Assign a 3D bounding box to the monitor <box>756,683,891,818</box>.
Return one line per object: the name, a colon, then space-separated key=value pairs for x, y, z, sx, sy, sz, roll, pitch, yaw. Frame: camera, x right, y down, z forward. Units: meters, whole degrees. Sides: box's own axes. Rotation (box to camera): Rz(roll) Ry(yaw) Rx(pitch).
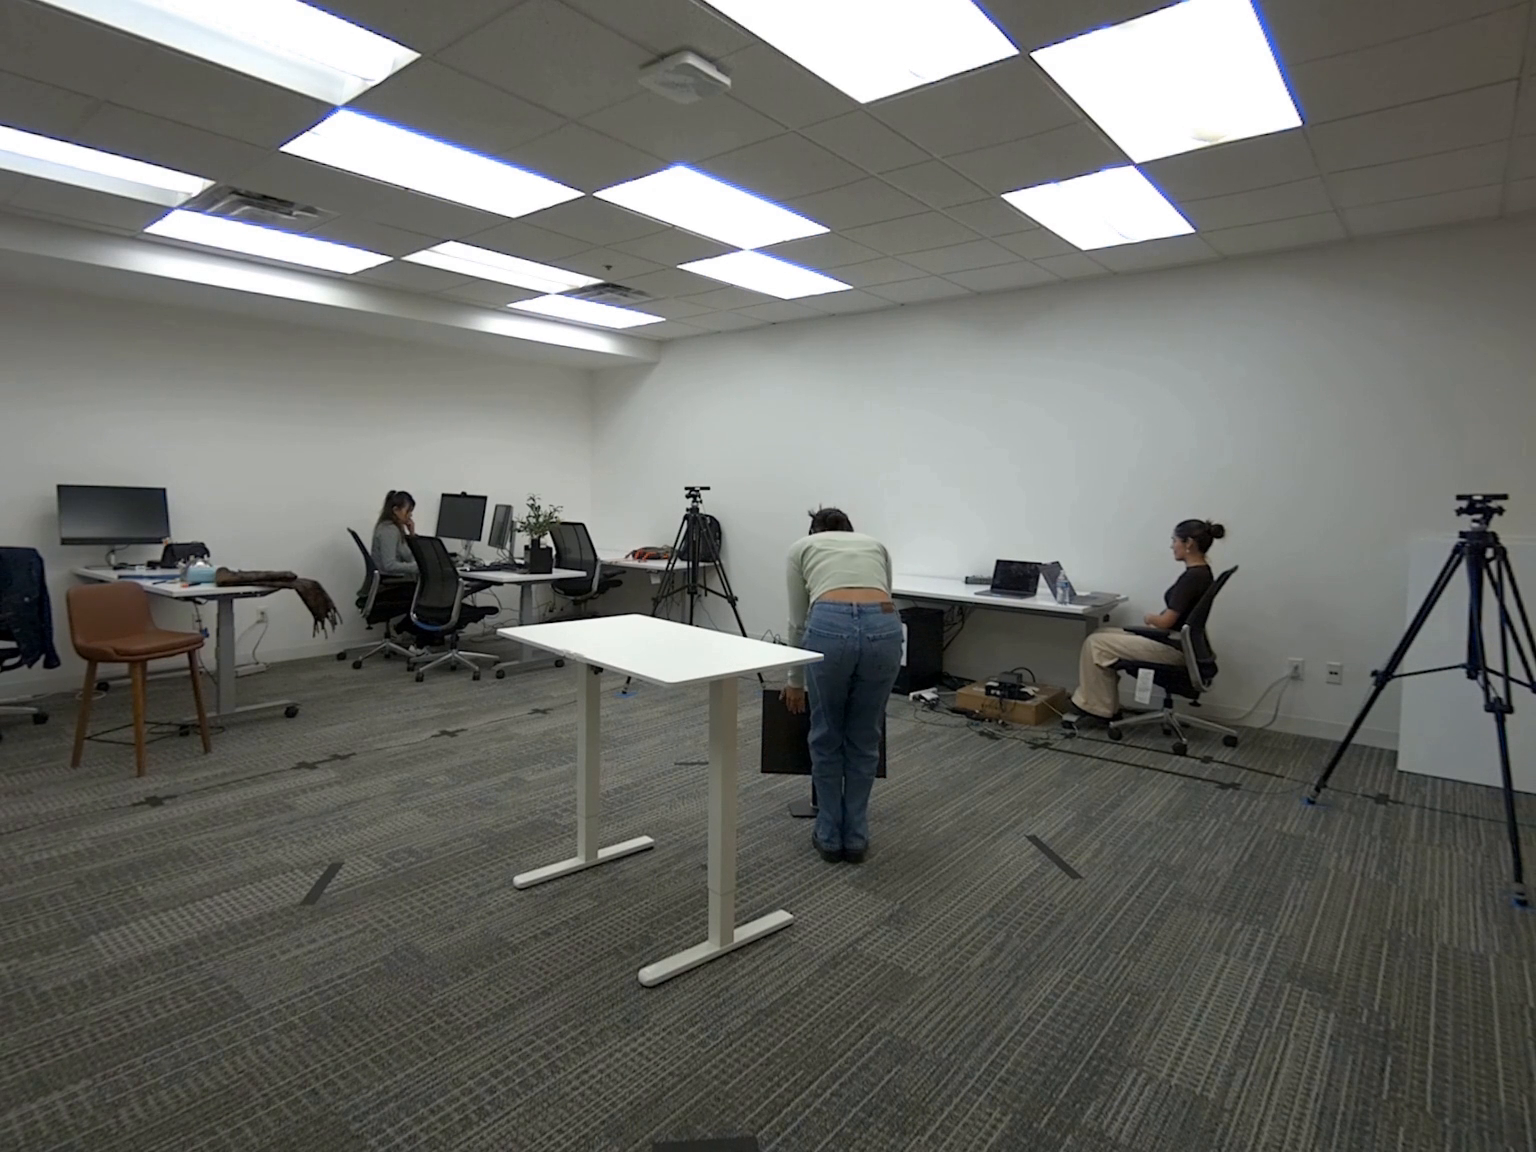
monitor: x=0.233 y=0.758 z=3.681 sx=0.537 sy=0.522 sz=0.188 roll=2 pitch=1 yaw=-3
